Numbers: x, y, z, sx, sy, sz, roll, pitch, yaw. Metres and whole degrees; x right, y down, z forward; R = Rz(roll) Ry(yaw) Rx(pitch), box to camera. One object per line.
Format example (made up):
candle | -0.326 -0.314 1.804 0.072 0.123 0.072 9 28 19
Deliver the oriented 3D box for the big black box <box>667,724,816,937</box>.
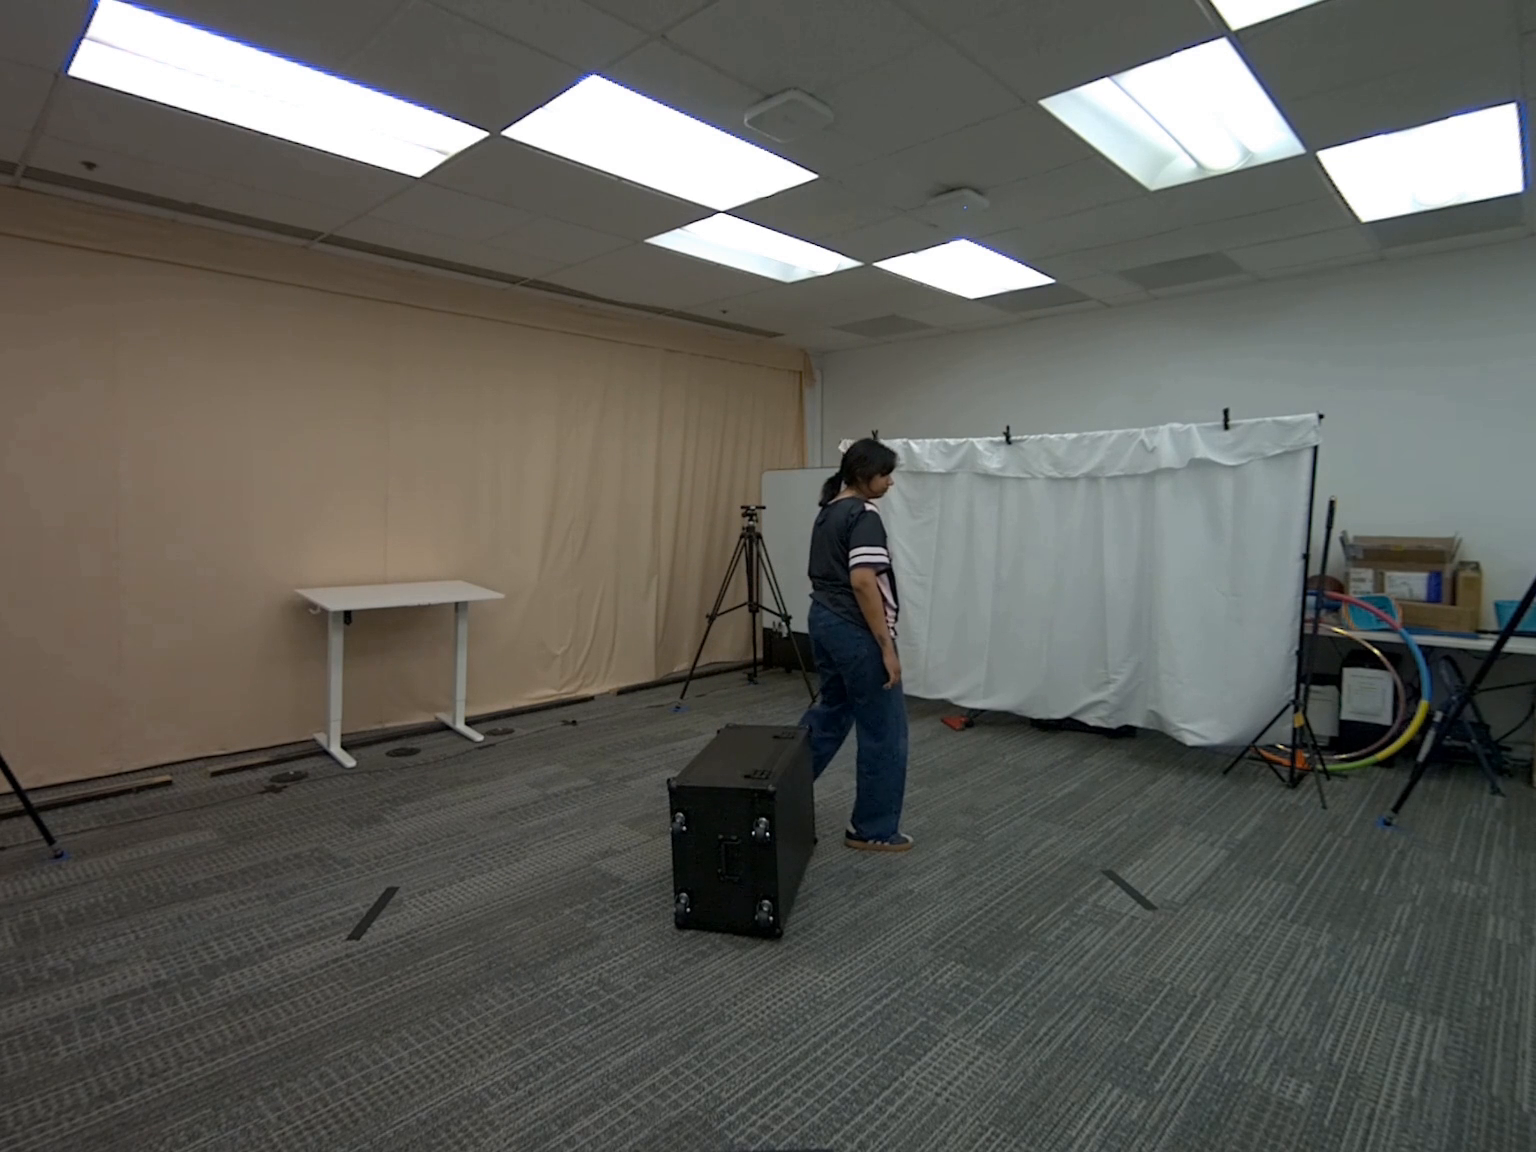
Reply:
big black box | -0.077 0.882 3.055 0.391 0.522 0.858 0 4 12
